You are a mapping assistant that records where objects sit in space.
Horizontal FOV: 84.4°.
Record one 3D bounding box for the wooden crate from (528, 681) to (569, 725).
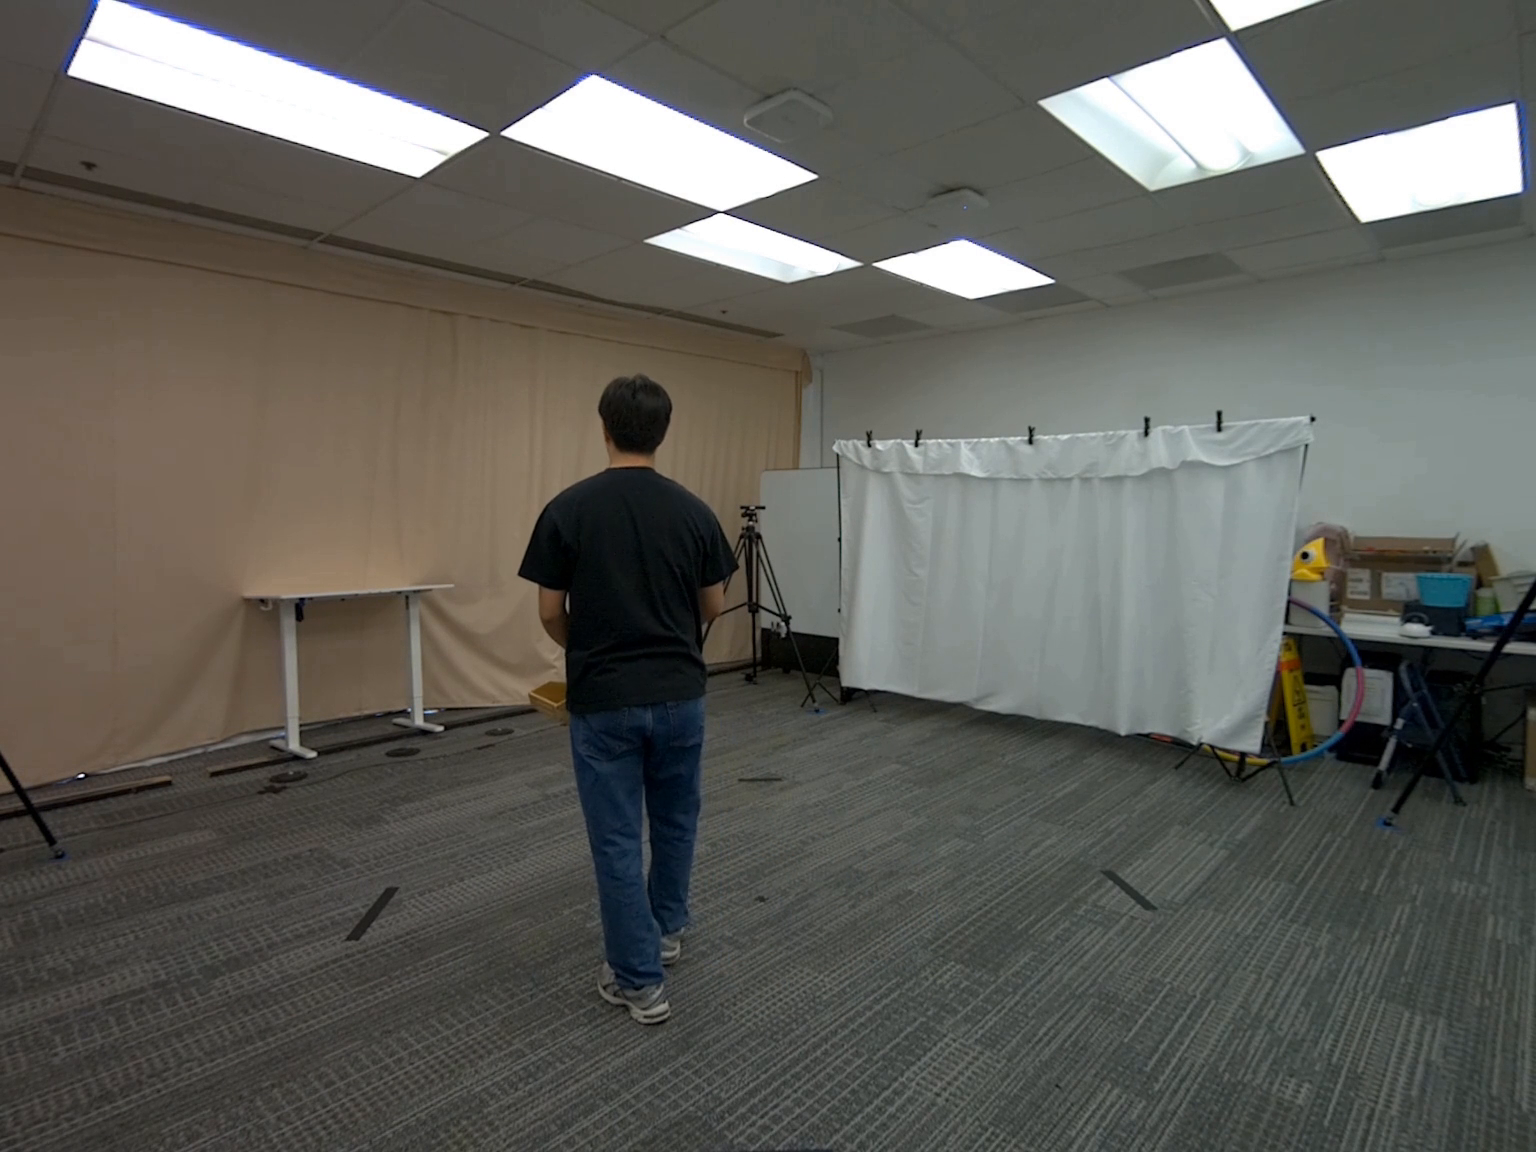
[{"bbox_3d":[-0.561,0.305,2.640,0.293,0.274,0.333,12,-6,-30],"label":"wooden crate"}]
